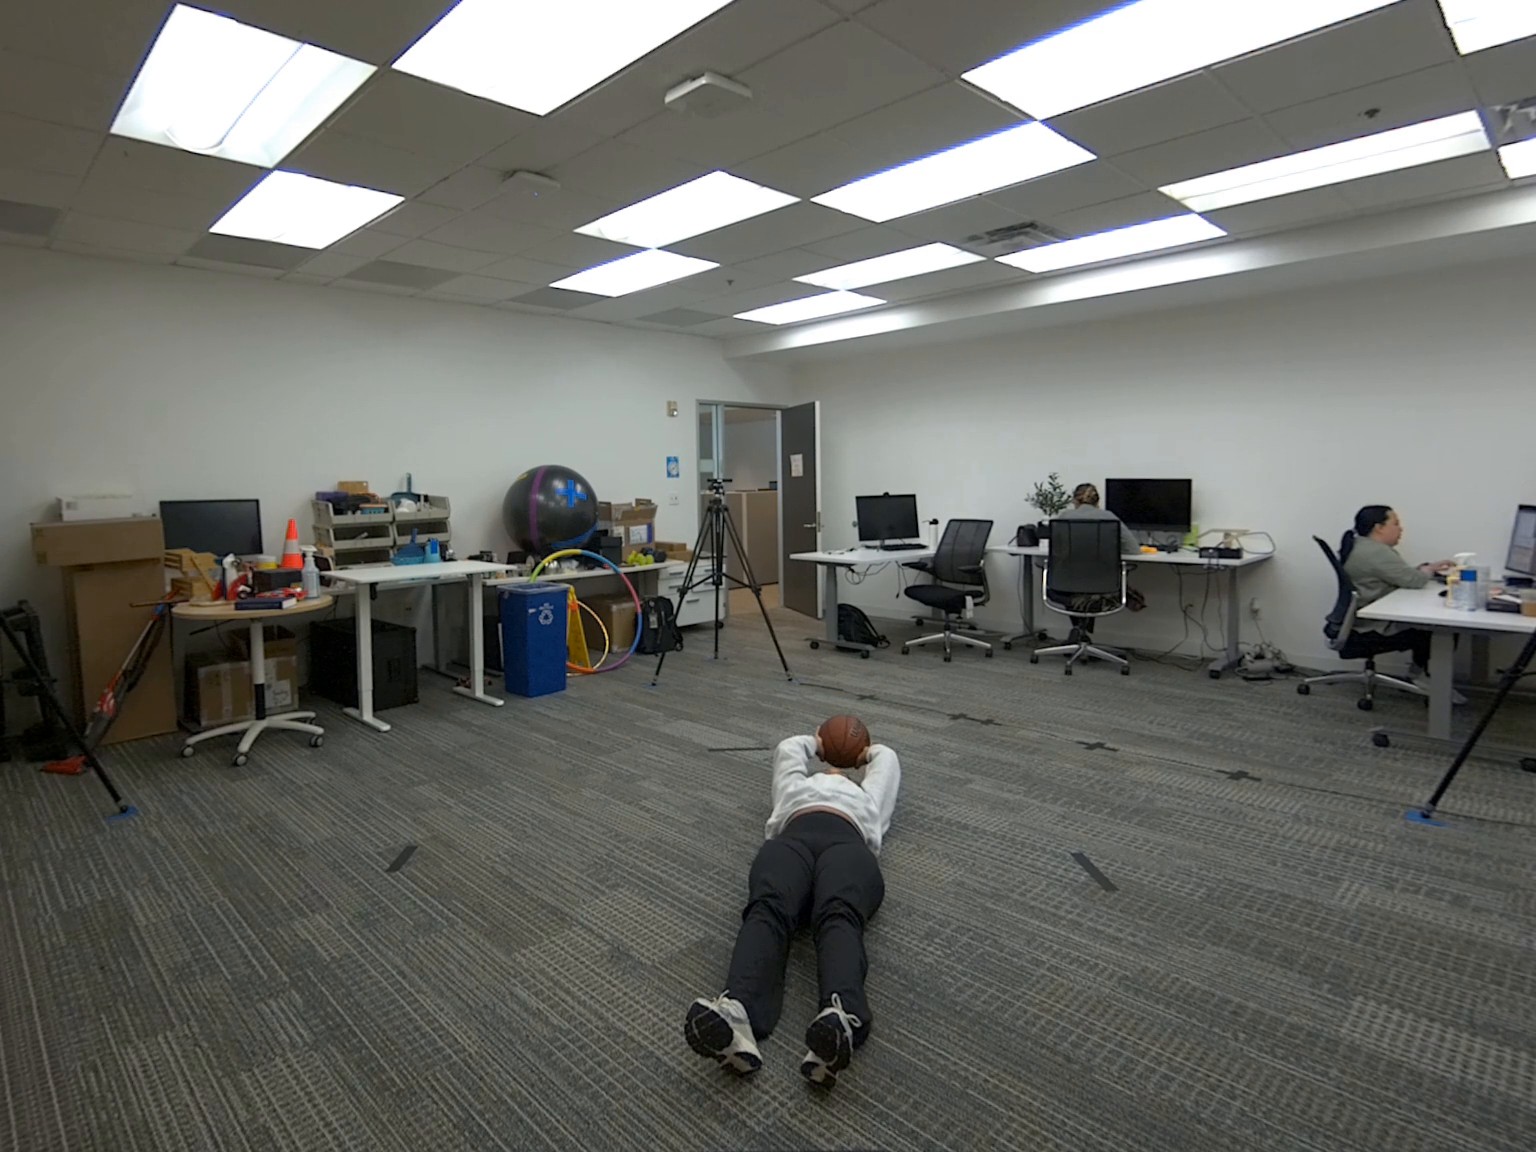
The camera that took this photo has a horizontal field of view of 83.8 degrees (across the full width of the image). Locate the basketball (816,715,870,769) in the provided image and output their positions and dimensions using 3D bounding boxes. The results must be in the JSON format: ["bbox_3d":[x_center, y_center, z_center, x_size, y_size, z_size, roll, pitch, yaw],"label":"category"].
[{"bbox_3d":[0.340,0.743,3.853,0.236,0.235,0.237,-1,4,-2],"label":"basketball"}]
